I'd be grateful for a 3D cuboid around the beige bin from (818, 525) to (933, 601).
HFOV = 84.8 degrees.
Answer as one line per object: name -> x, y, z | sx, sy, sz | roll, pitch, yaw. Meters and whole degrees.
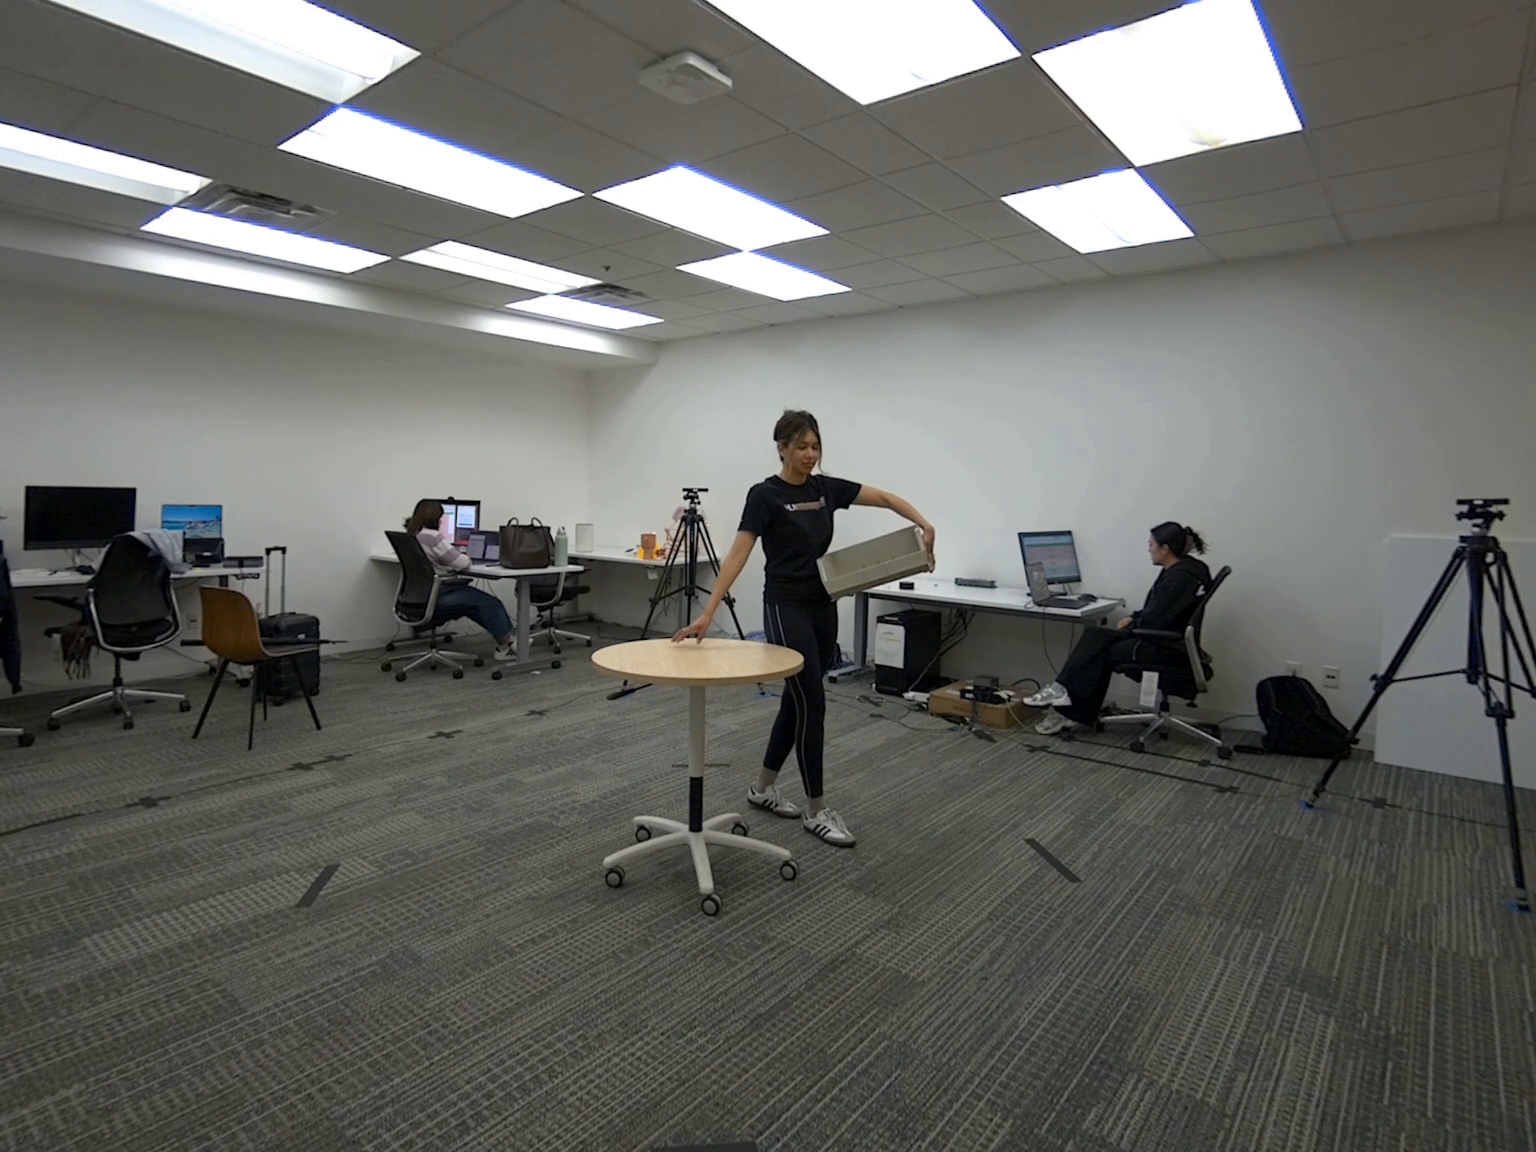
beige bin -> 0.431, -0.056, 3.485 | 0.426, 0.189, 0.374 | -19, 1, 12
